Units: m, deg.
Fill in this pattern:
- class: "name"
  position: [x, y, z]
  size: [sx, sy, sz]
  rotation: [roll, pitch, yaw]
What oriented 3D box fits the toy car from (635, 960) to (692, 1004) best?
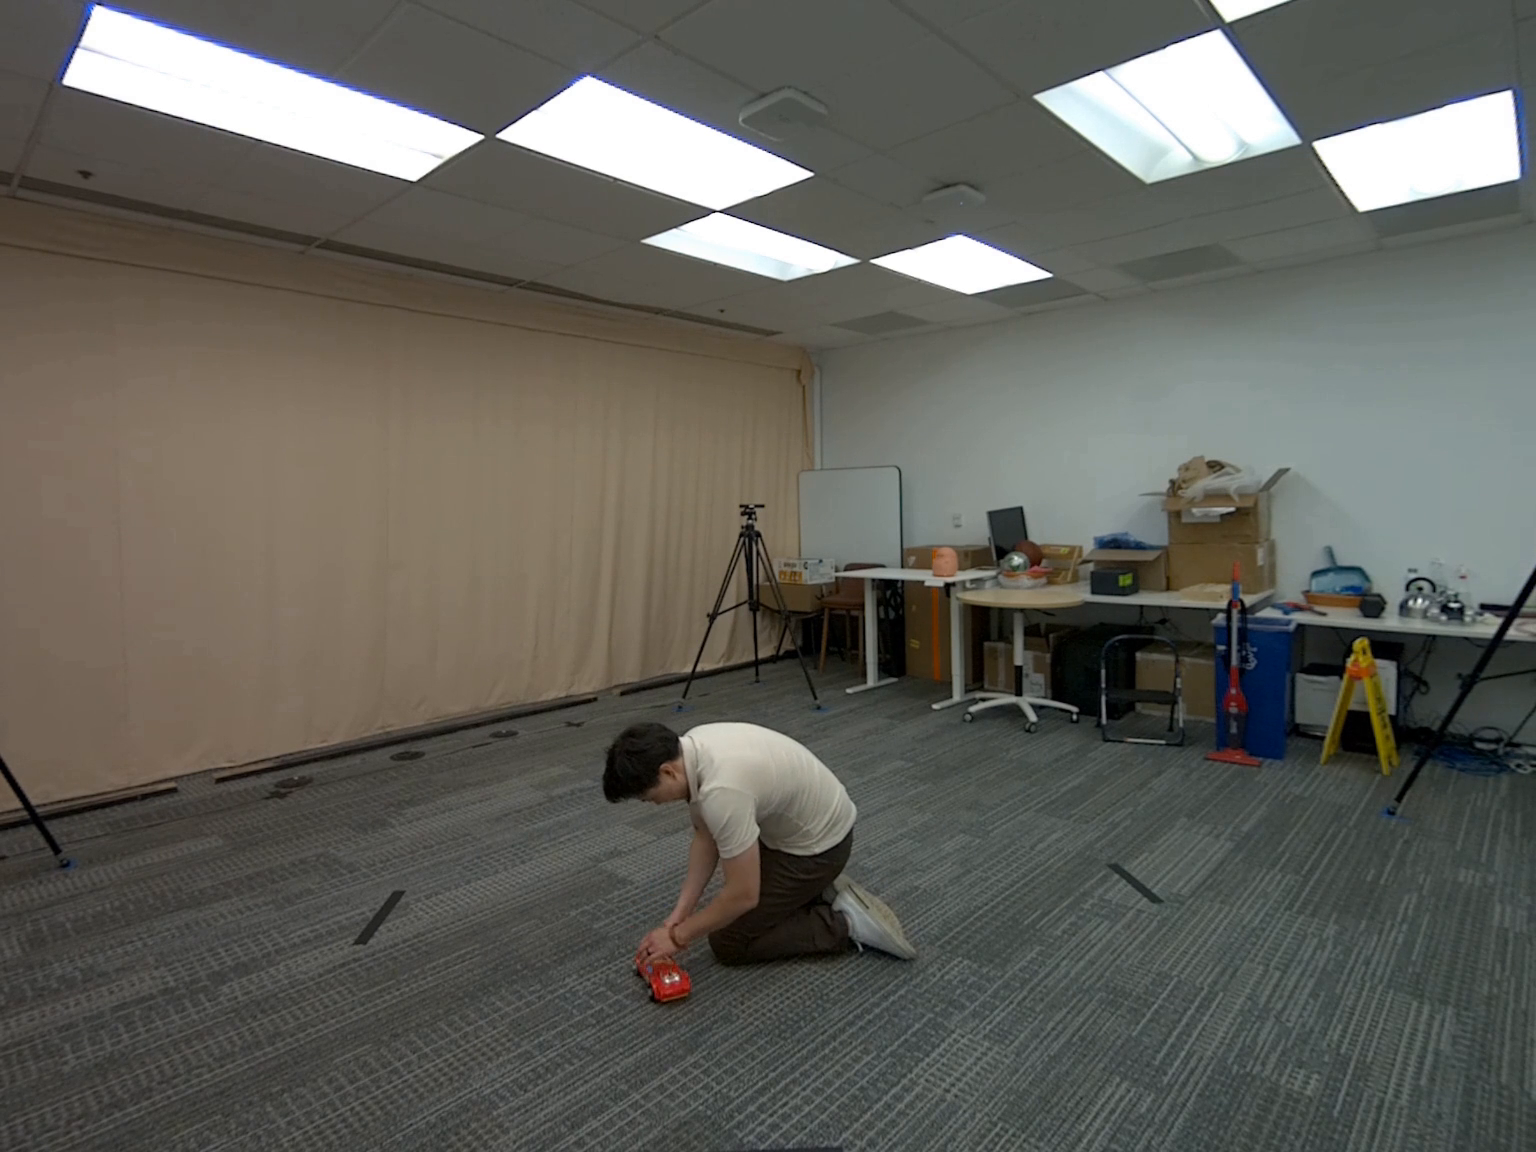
- class: "toy car"
  position: [-0.304, 1.161, 2.434]
  size: [0.127, 0.083, 0.259]
  rotation: [-4, -6, -26]
